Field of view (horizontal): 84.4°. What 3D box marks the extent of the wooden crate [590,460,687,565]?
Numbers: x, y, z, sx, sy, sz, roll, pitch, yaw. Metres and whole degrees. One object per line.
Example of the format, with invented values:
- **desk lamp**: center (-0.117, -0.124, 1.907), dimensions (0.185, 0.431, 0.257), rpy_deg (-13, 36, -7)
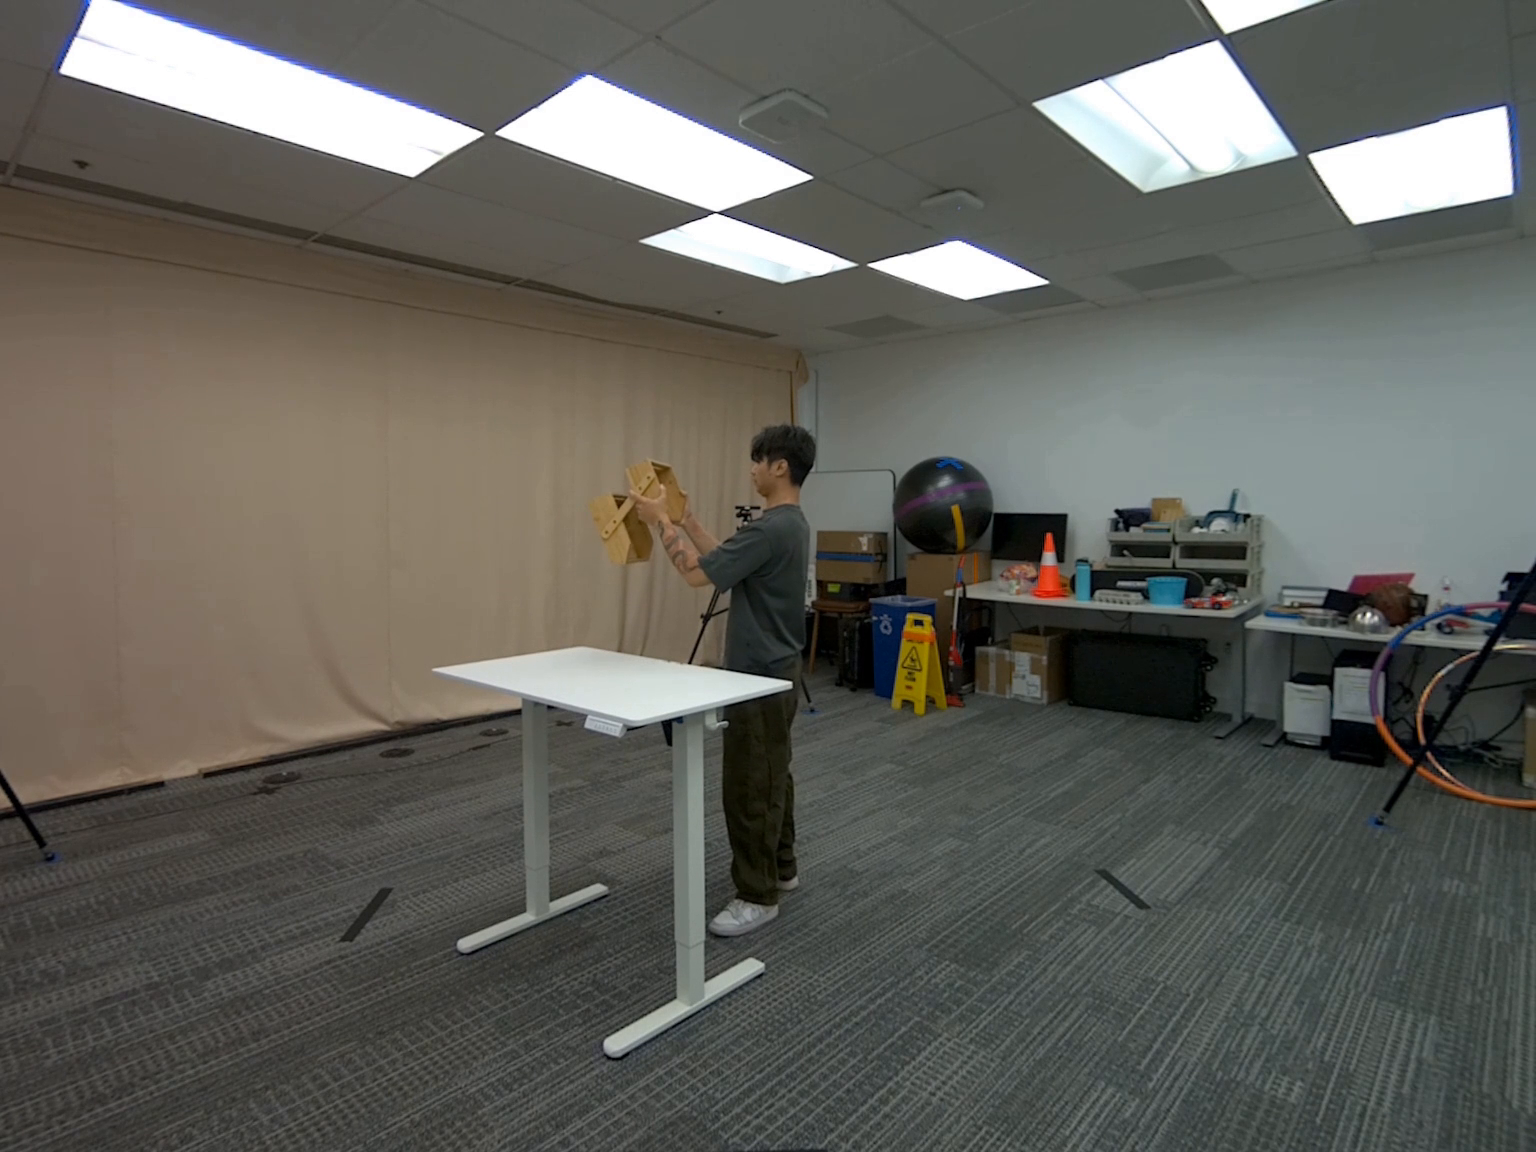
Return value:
- **wooden crate**: center (-0.437, -0.215, 3.020), dimensions (0.275, 0.303, 0.321), rpy_deg (-24, -1, 10)
